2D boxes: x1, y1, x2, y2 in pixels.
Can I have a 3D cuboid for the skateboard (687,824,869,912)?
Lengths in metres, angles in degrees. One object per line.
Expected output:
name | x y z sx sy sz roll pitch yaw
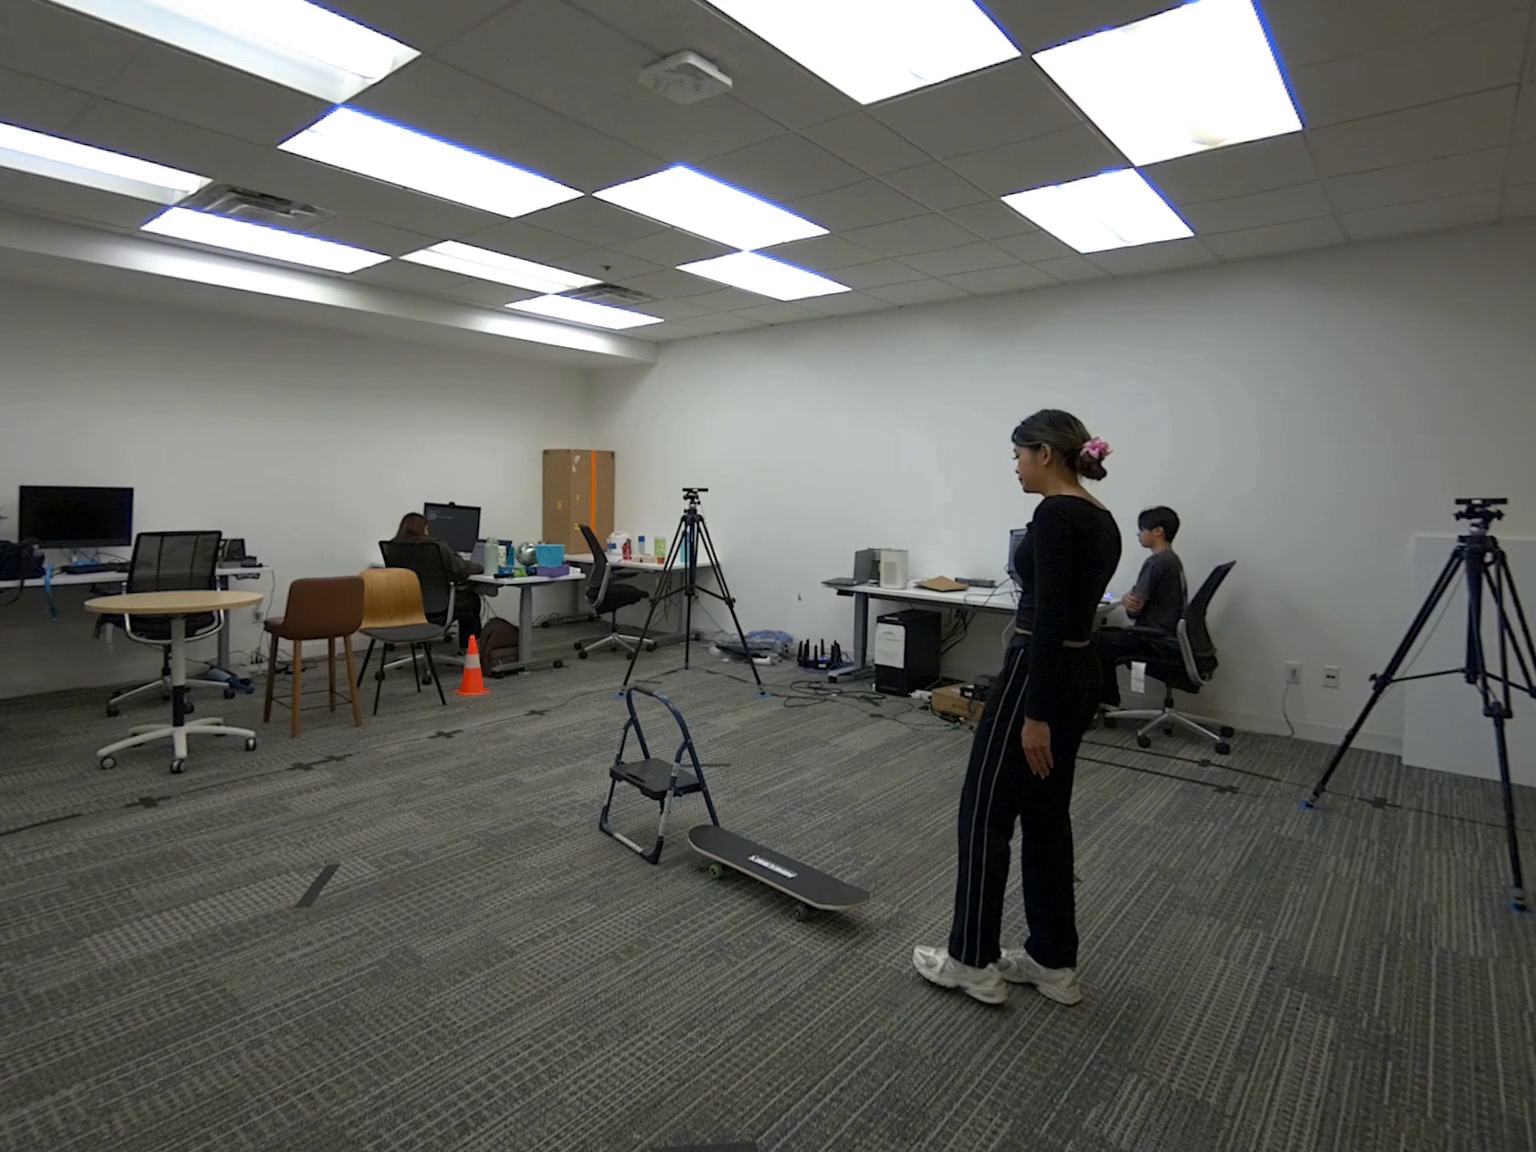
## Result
skateboard | 0.010 1.035 2.946 0.813 0.110 0.188 6 8 44
